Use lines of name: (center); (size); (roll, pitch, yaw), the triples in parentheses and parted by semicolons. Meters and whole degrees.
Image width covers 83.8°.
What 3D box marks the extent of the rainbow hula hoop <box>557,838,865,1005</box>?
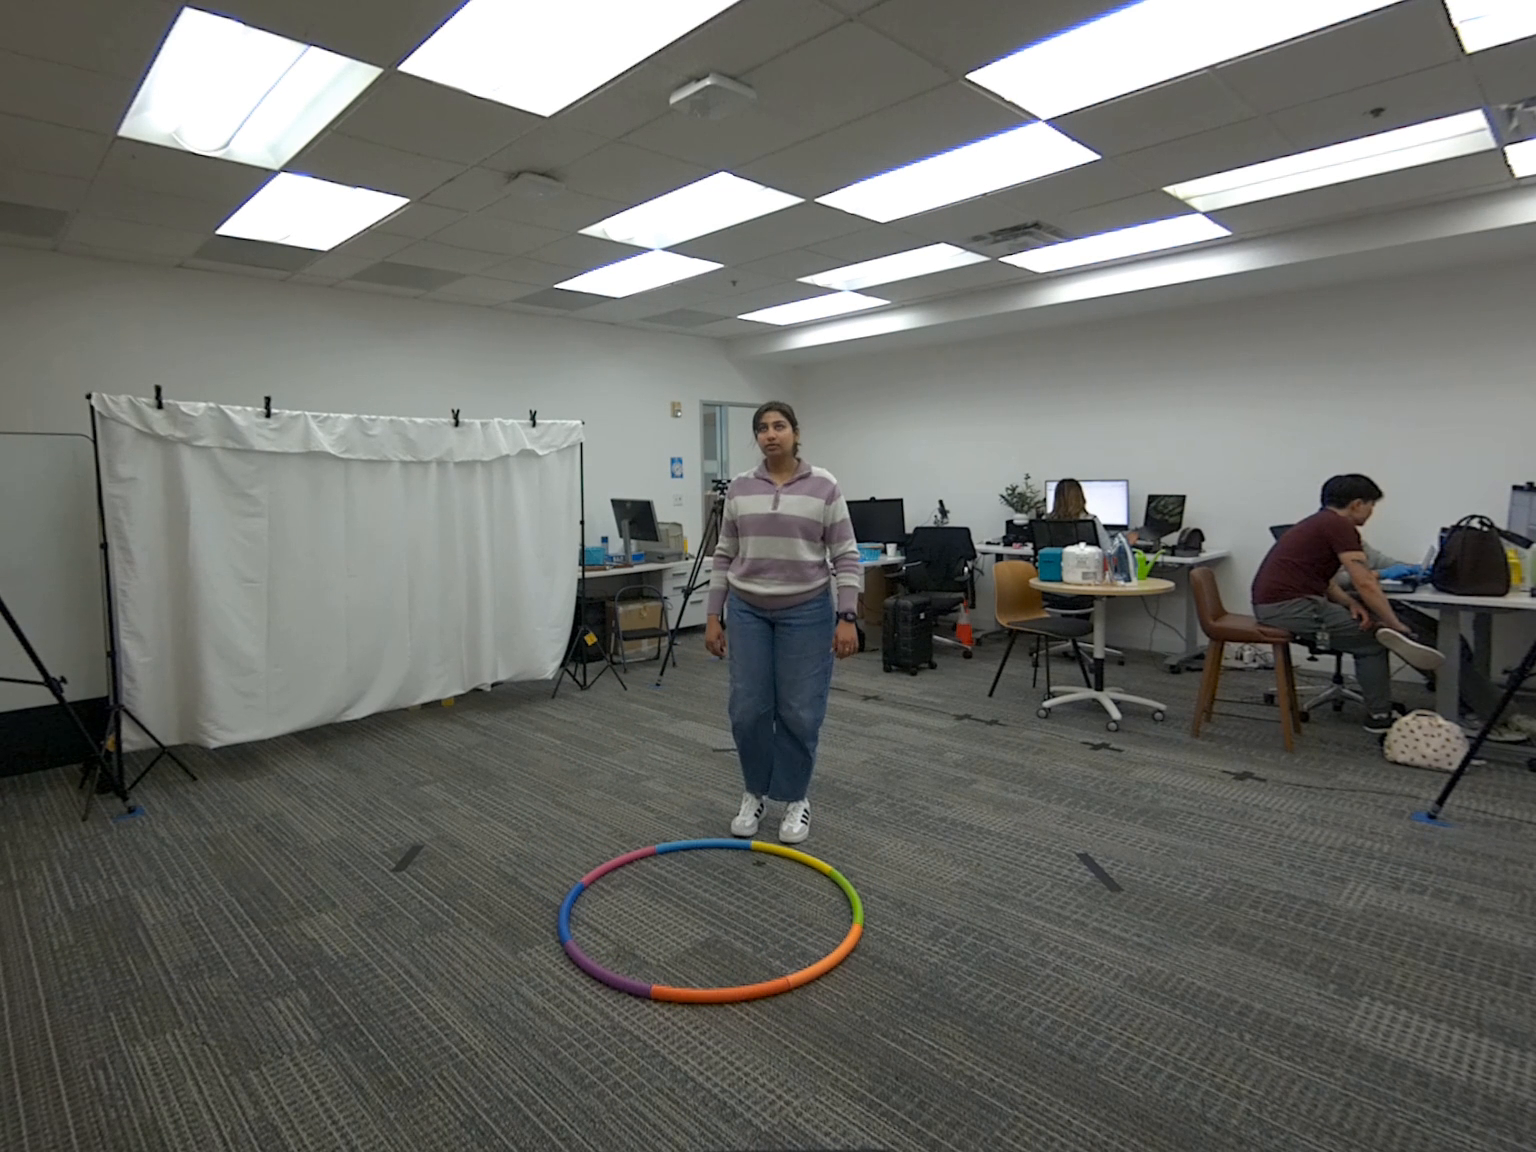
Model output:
rainbow hula hoop: (-0.177, 1.056, 2.773); (0.978, 0.035, 0.984); (-2, 7, -1)
